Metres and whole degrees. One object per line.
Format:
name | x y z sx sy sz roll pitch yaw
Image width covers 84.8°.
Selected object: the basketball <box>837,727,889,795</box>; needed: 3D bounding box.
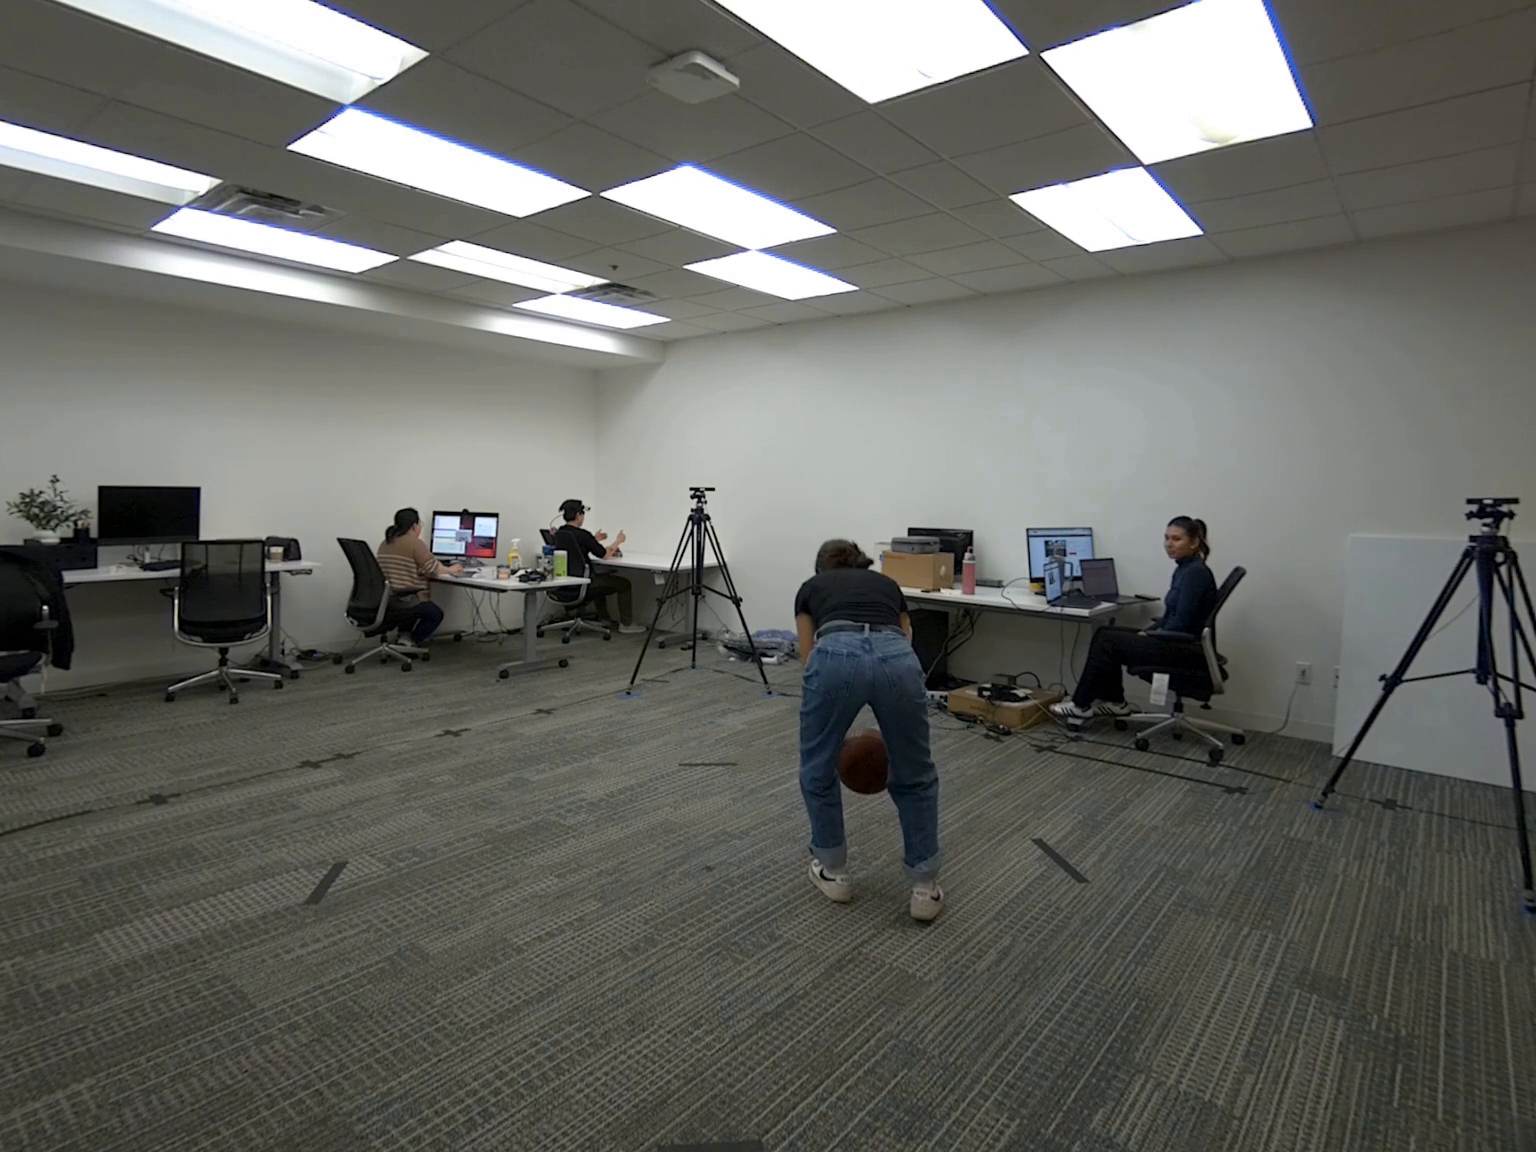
basketball | 0.349 0.669 3.126 0.235 0.235 0.237 1 4 -2
